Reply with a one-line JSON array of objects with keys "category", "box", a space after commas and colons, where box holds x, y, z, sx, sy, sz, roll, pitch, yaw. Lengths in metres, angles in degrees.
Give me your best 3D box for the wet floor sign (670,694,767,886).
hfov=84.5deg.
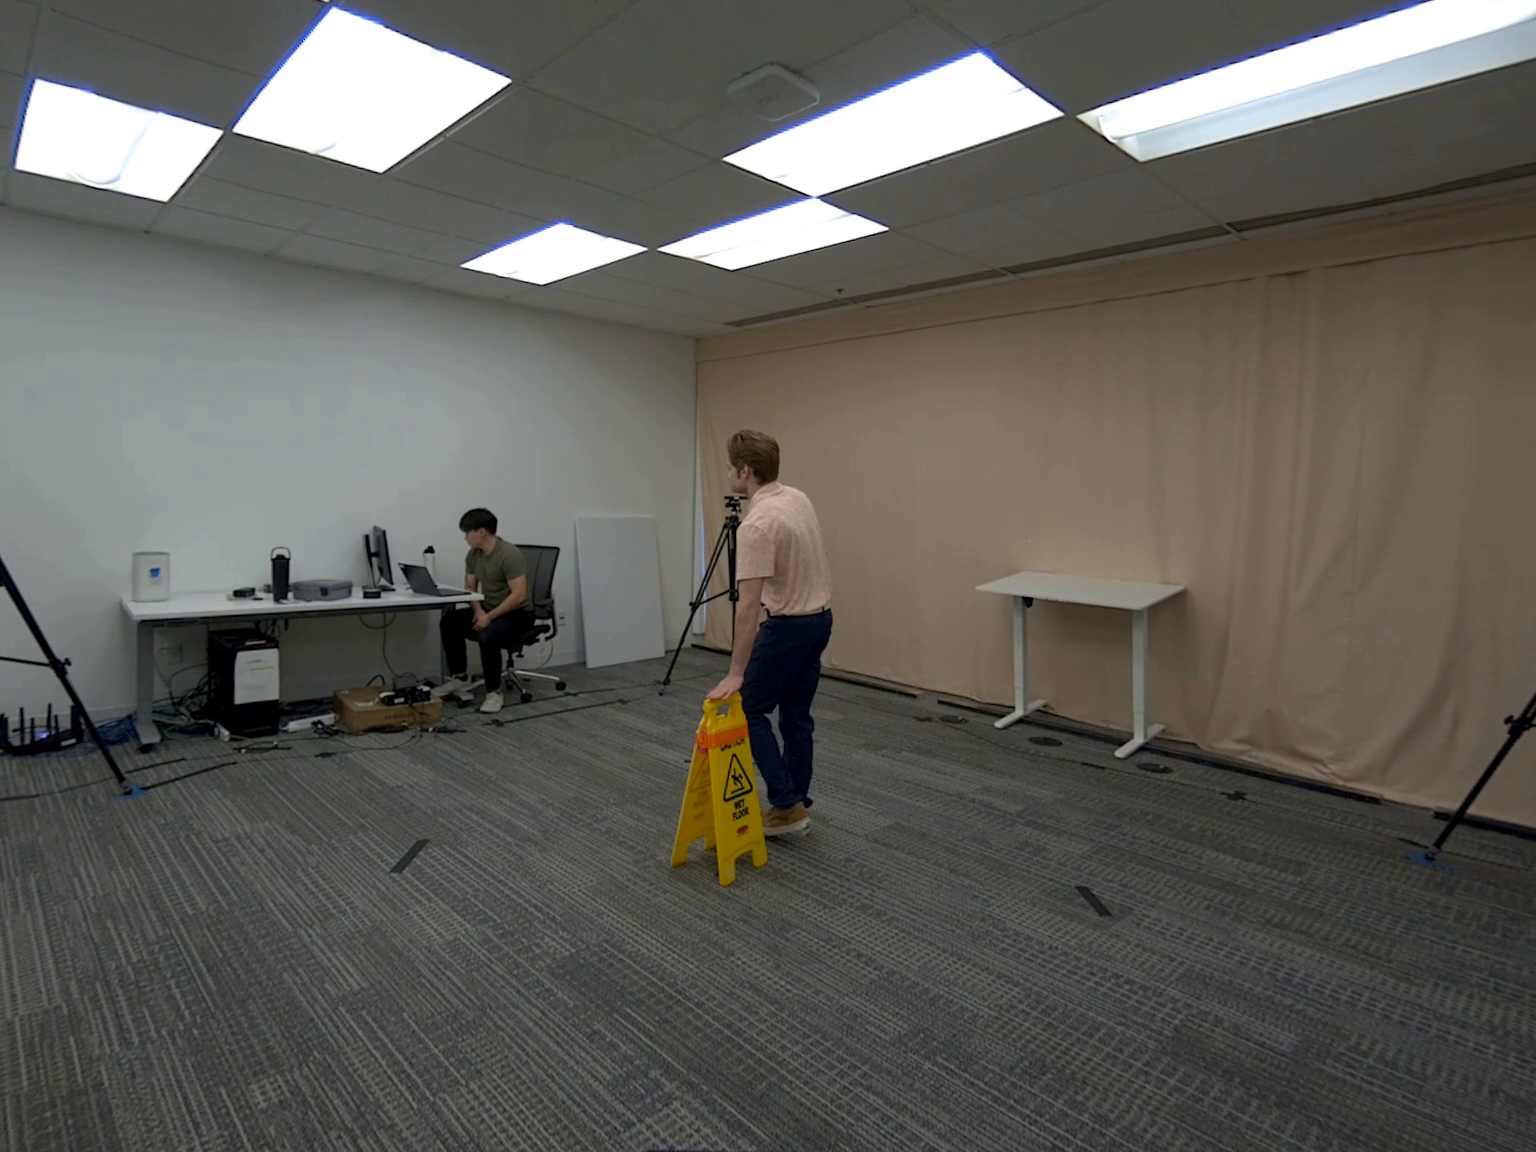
[{"category": "wet floor sign", "box": [-0.182, 0.773, 3.169, 0.297, 0.644, 0.276, 4, 5, 36]}]
